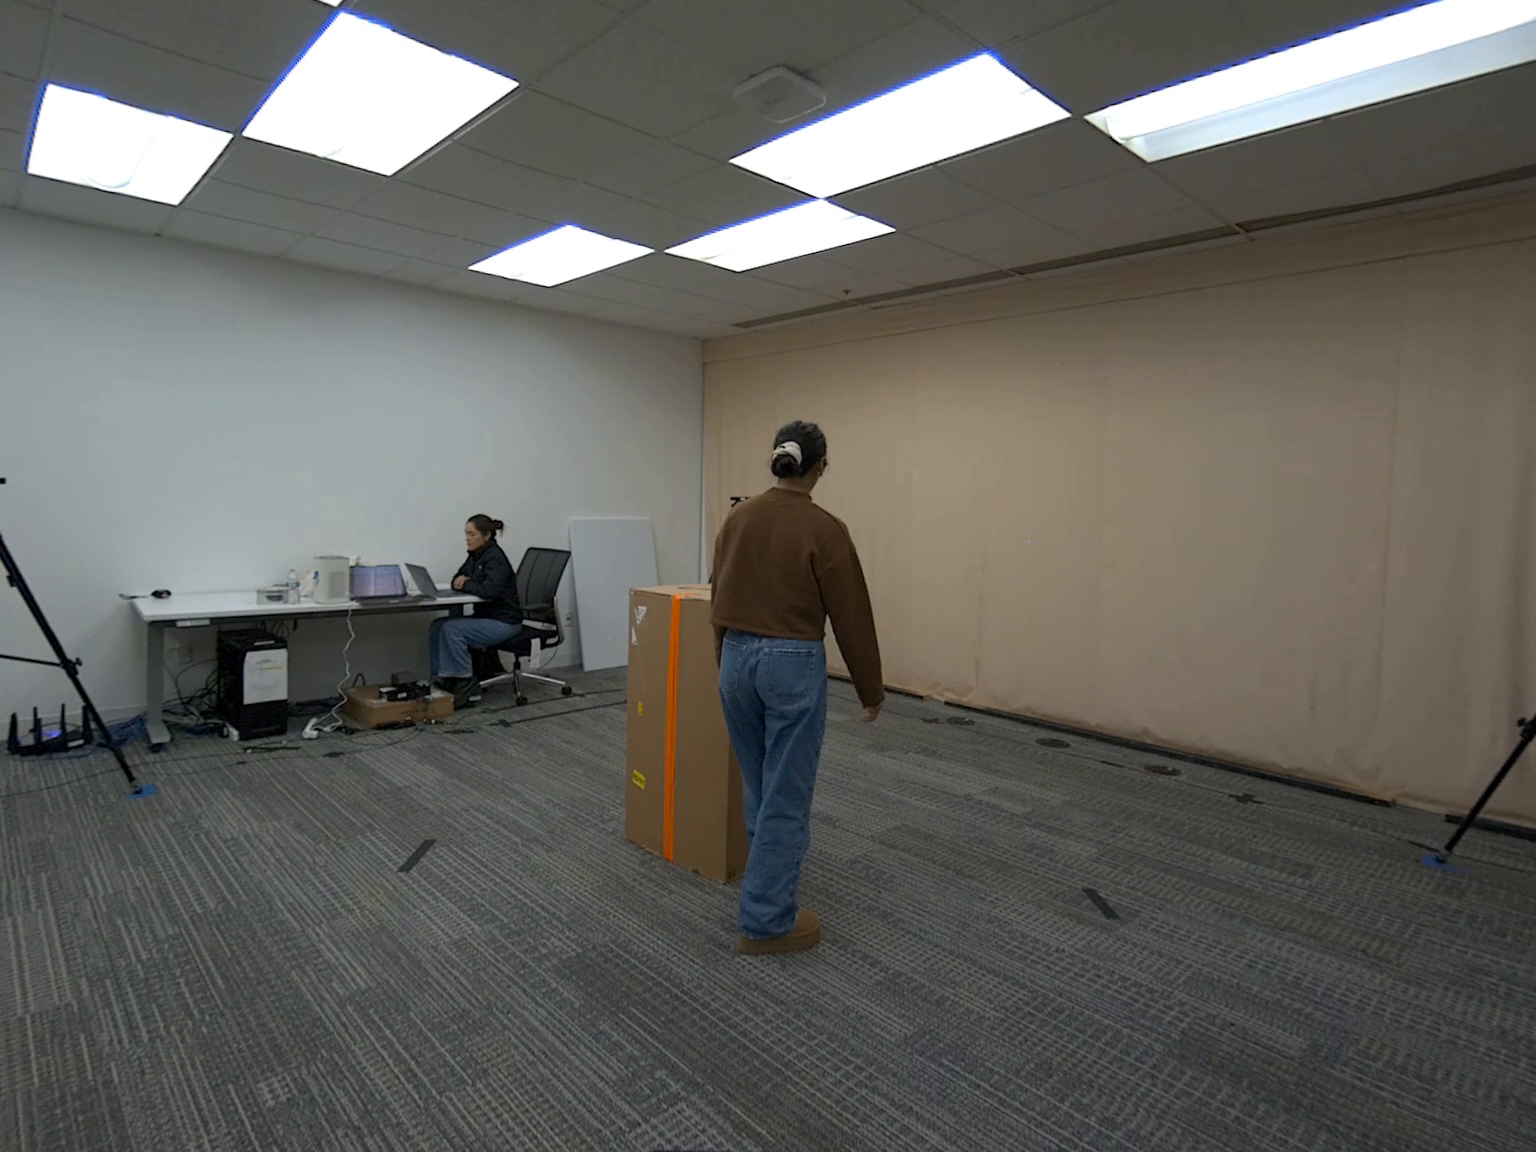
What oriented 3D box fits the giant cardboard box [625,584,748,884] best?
[{"bbox_3d":[-0.227,0.576,3.346,0.592,1.023,0.416,5,5,43],"label":"giant cardboard box"}]
